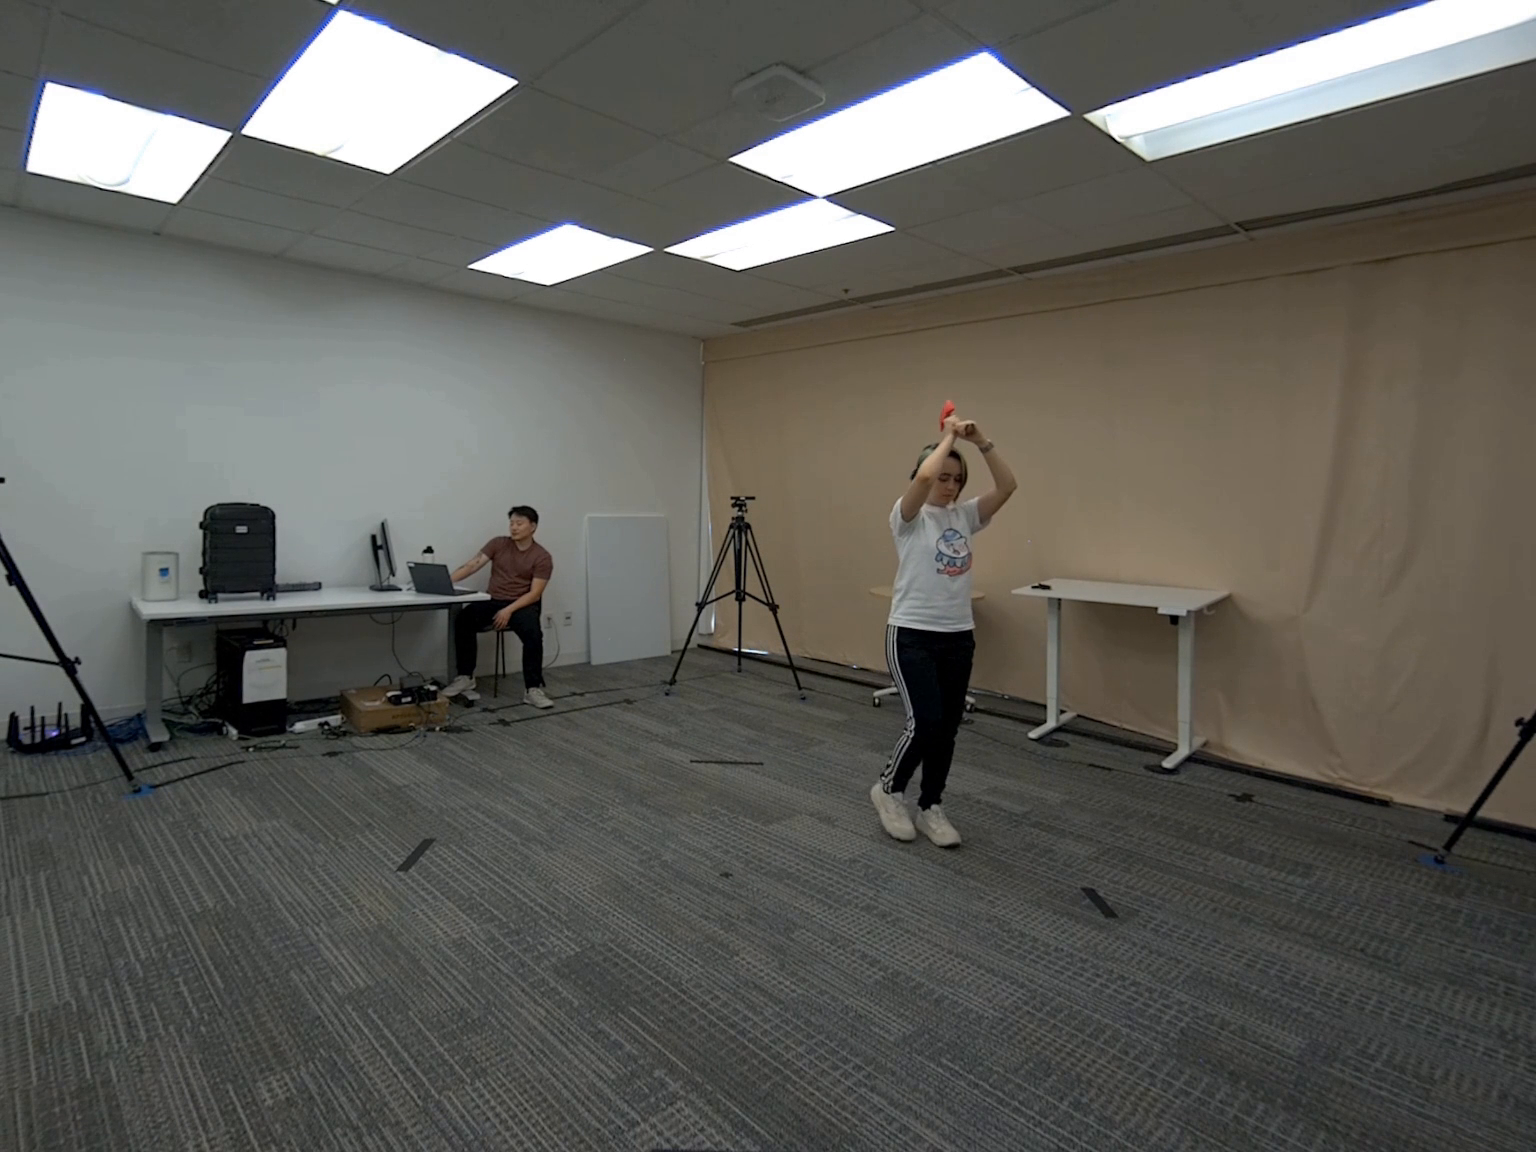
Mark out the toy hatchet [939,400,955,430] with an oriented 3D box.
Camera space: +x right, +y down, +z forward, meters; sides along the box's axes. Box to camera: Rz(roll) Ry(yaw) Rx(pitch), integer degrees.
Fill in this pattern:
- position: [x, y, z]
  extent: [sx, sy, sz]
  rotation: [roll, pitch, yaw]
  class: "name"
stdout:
- position: [0.744, -0.636, 3.332]
  extent: [0.029, 0.130, 0.274]
  rotation: [3, 9, -13]
  class: "toy hatchet"
